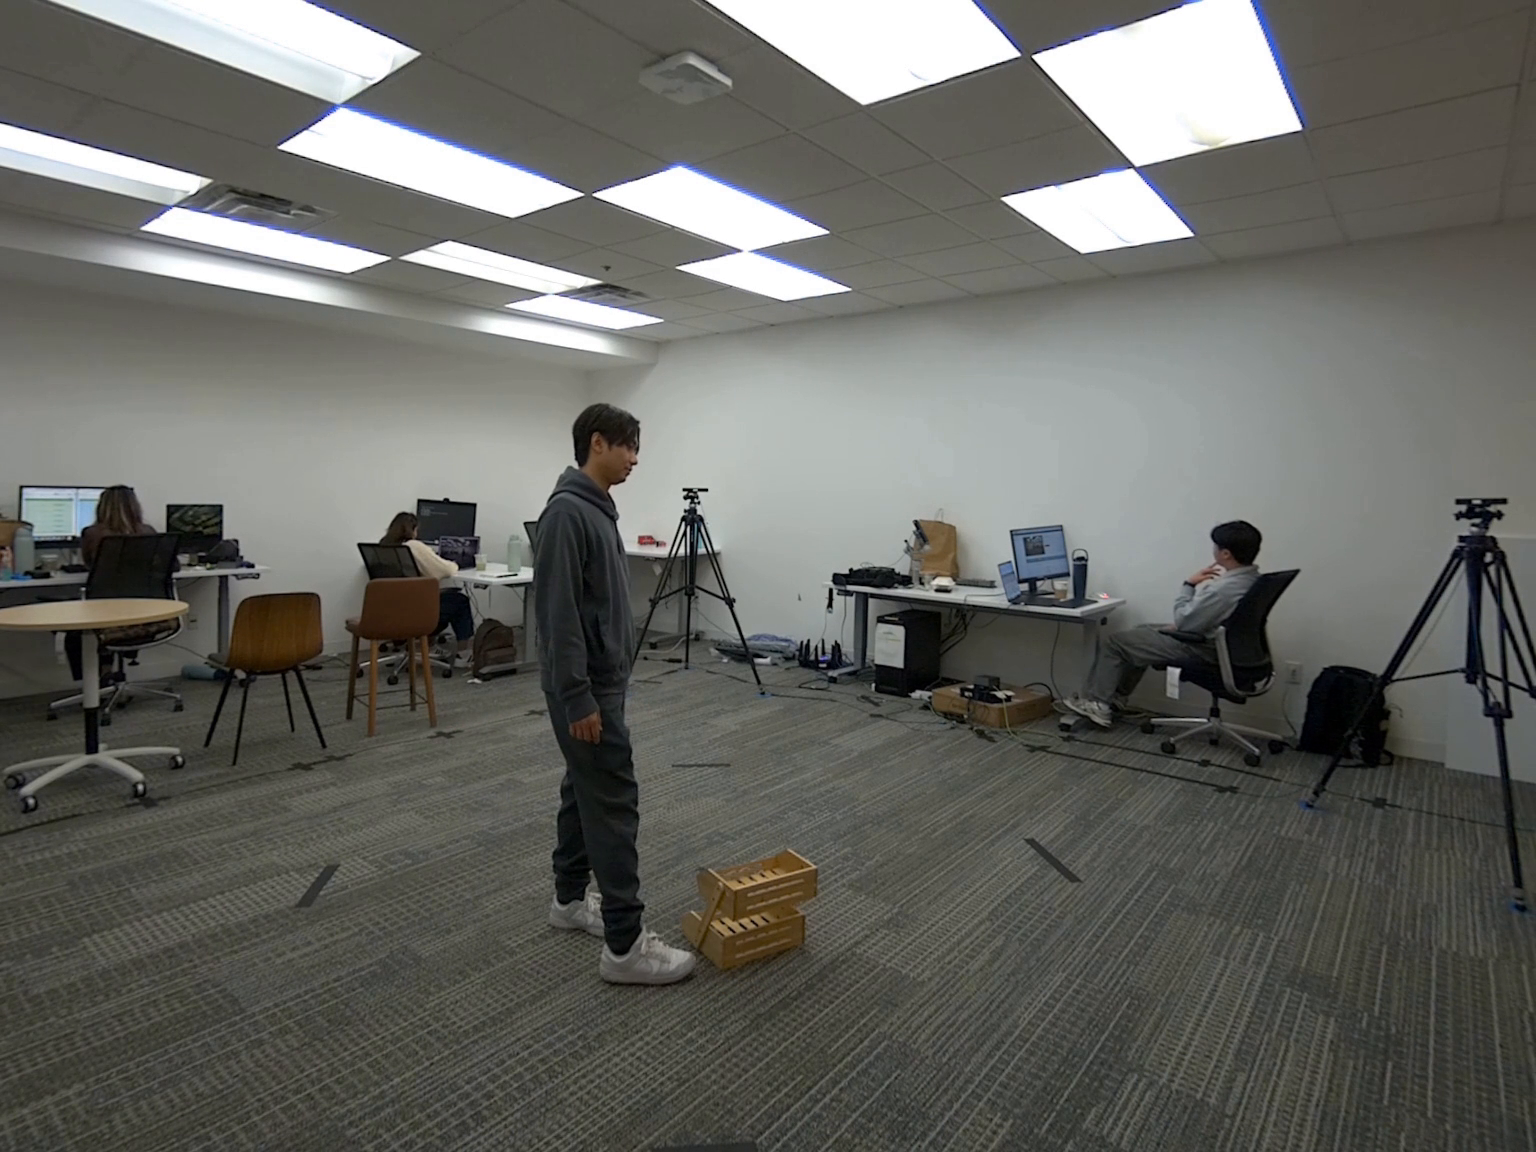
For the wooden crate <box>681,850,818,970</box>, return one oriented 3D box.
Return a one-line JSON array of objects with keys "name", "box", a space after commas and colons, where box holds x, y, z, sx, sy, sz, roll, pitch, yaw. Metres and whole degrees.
[{"name": "wooden crate", "box": [-0.072, 0.985, 2.609, 0.315, 0.272, 0.312, -1, 6, -33]}]
